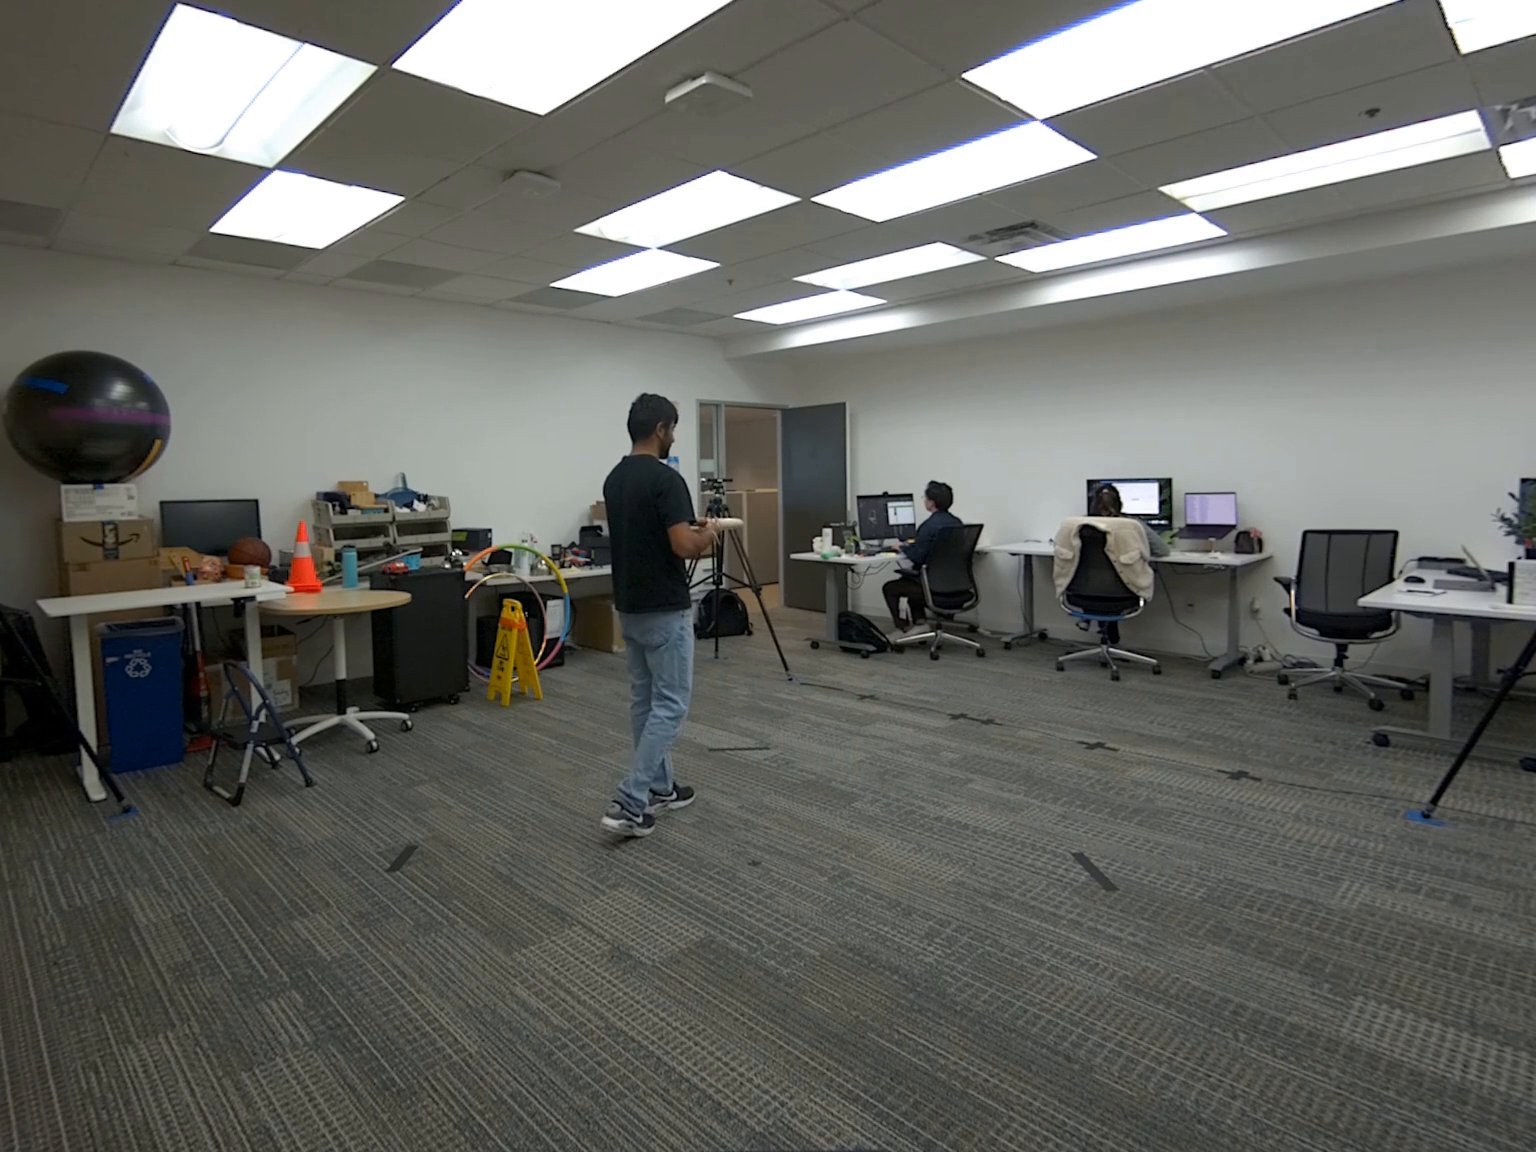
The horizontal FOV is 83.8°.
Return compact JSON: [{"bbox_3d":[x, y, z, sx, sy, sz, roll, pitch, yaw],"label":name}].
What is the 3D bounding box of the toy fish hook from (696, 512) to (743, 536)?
[{"bbox_3d":[-0.284,-0.213,3.711,0.227,0.048,0.499,-13,-2,12],"label":"toy fish hook"}]
